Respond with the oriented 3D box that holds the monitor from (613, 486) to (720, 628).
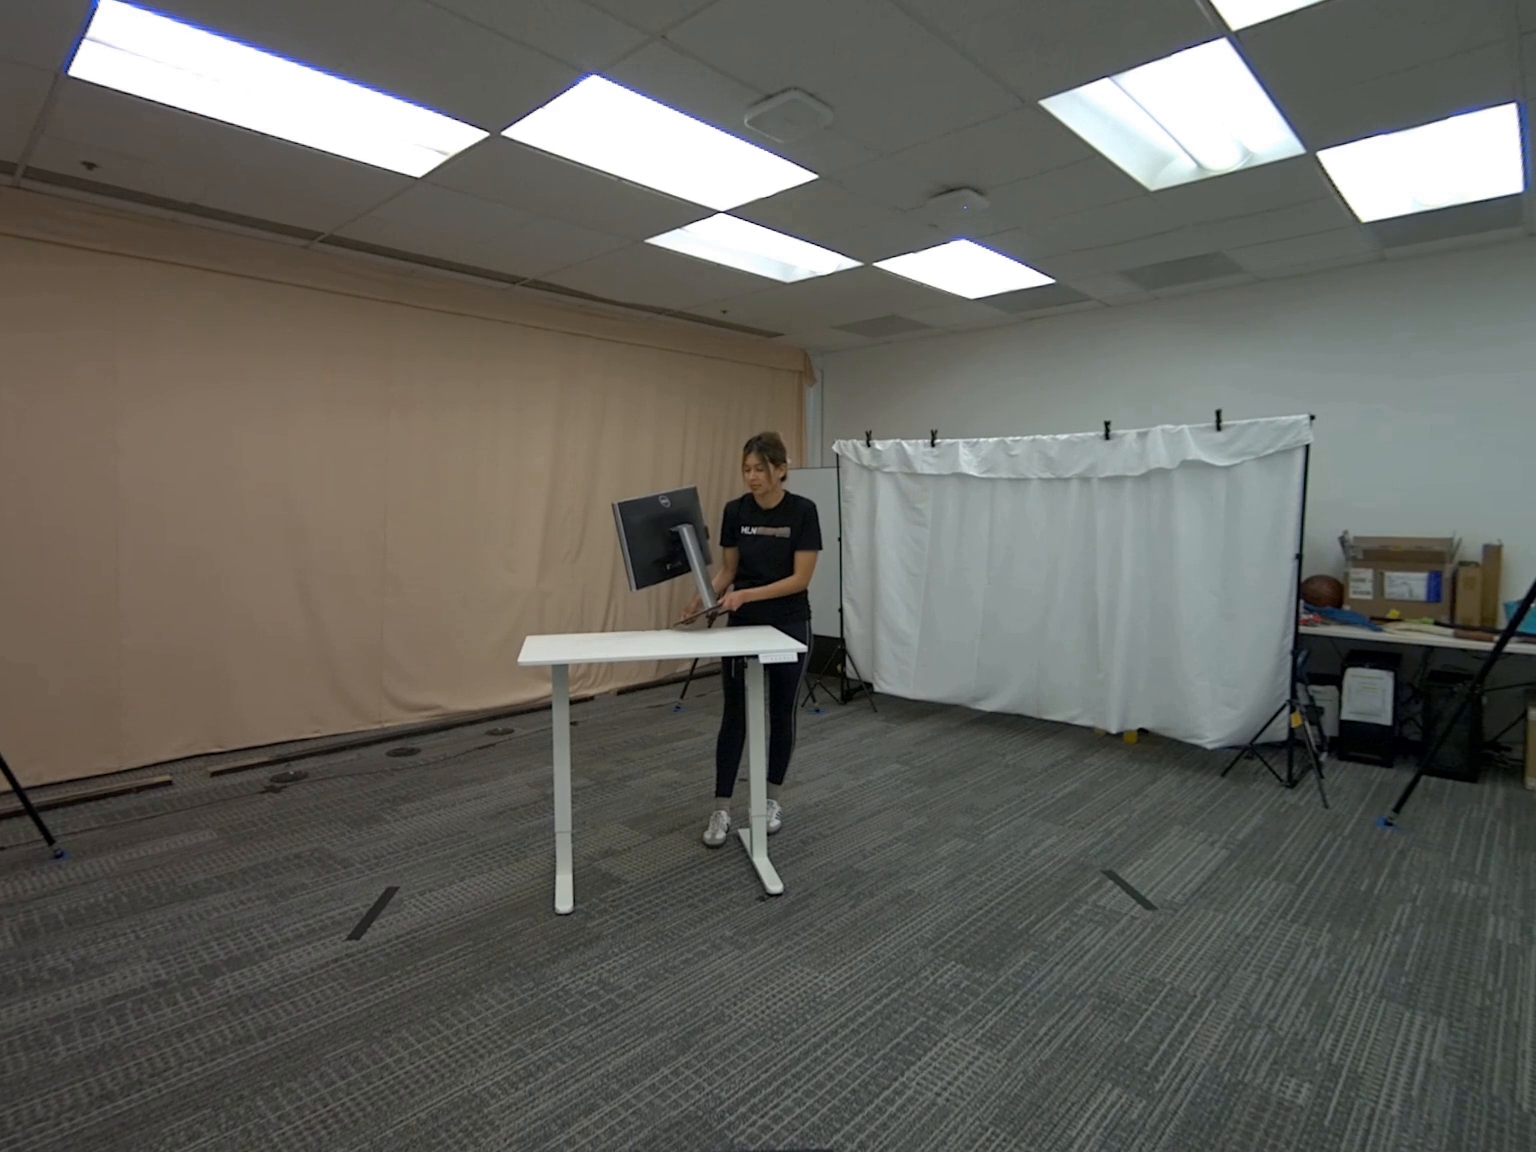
[{"bbox_3d":[-0.364,-0.096,3.509,0.191,0.524,0.527,-23,-1,32],"label":"monitor"}]
